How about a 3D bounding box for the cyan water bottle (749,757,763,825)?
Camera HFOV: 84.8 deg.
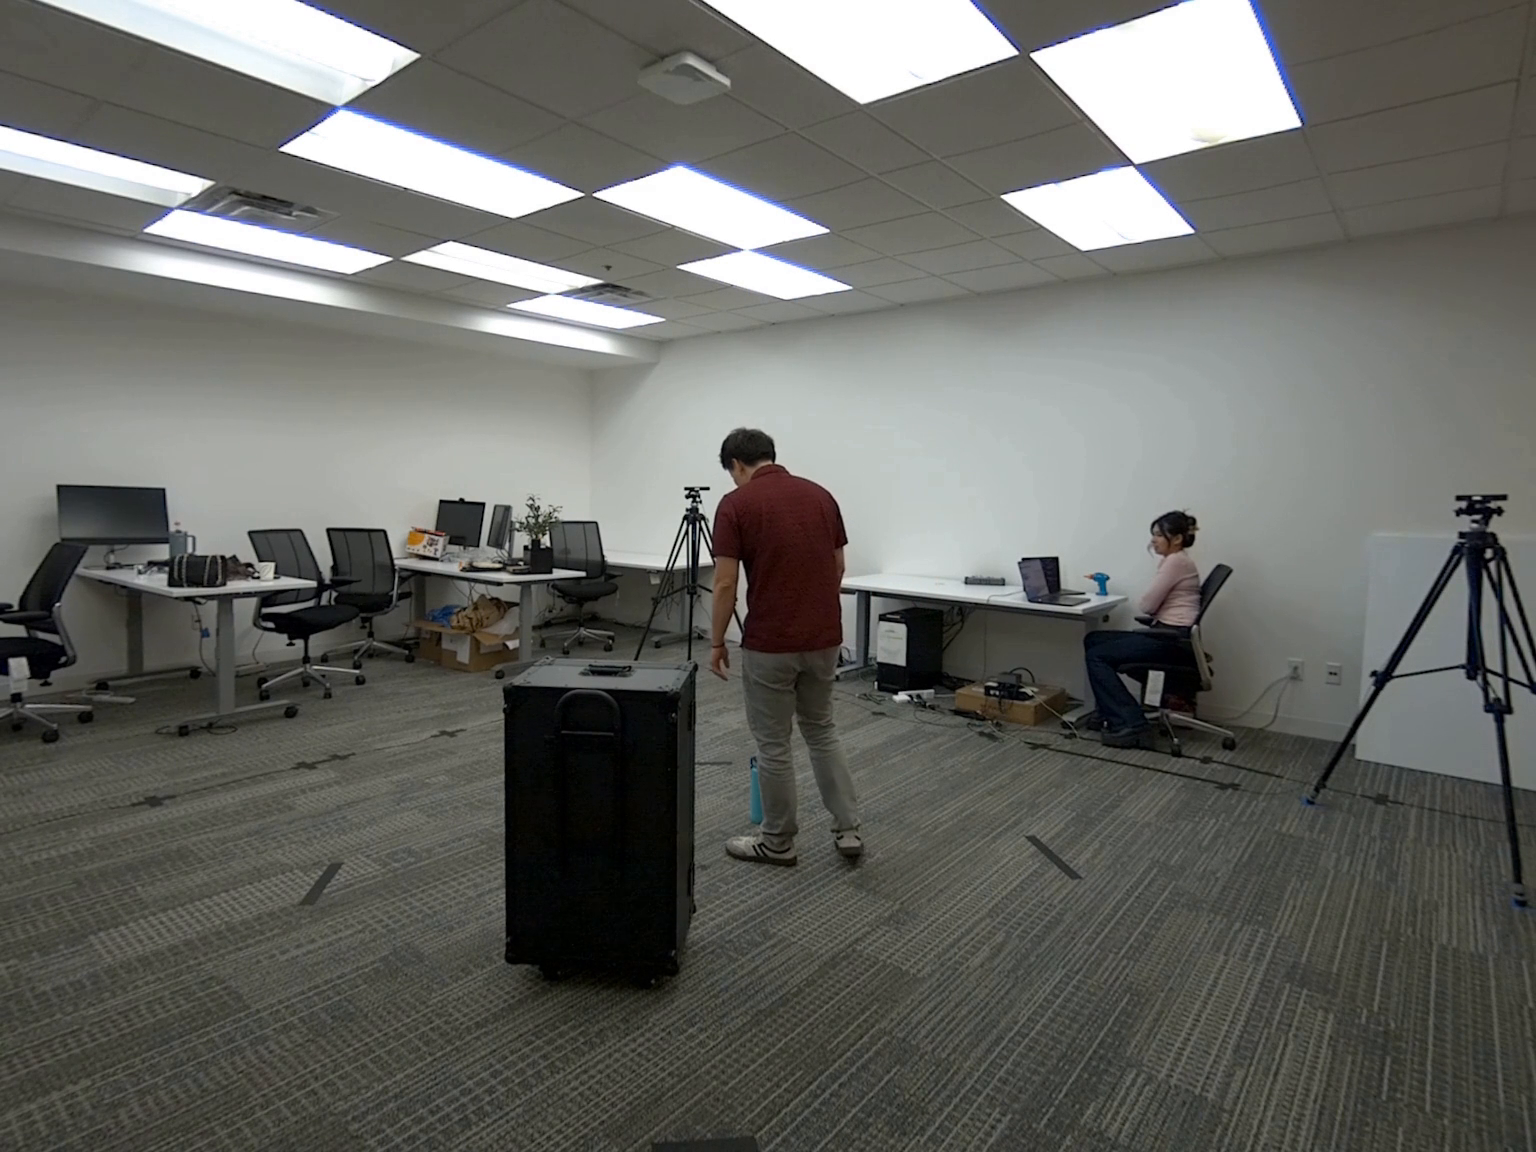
[{"bbox_3d":[-0.039,0.876,3.565,0.092,0.282,0.093,1,4,-2],"label":"cyan water bottle"}]
